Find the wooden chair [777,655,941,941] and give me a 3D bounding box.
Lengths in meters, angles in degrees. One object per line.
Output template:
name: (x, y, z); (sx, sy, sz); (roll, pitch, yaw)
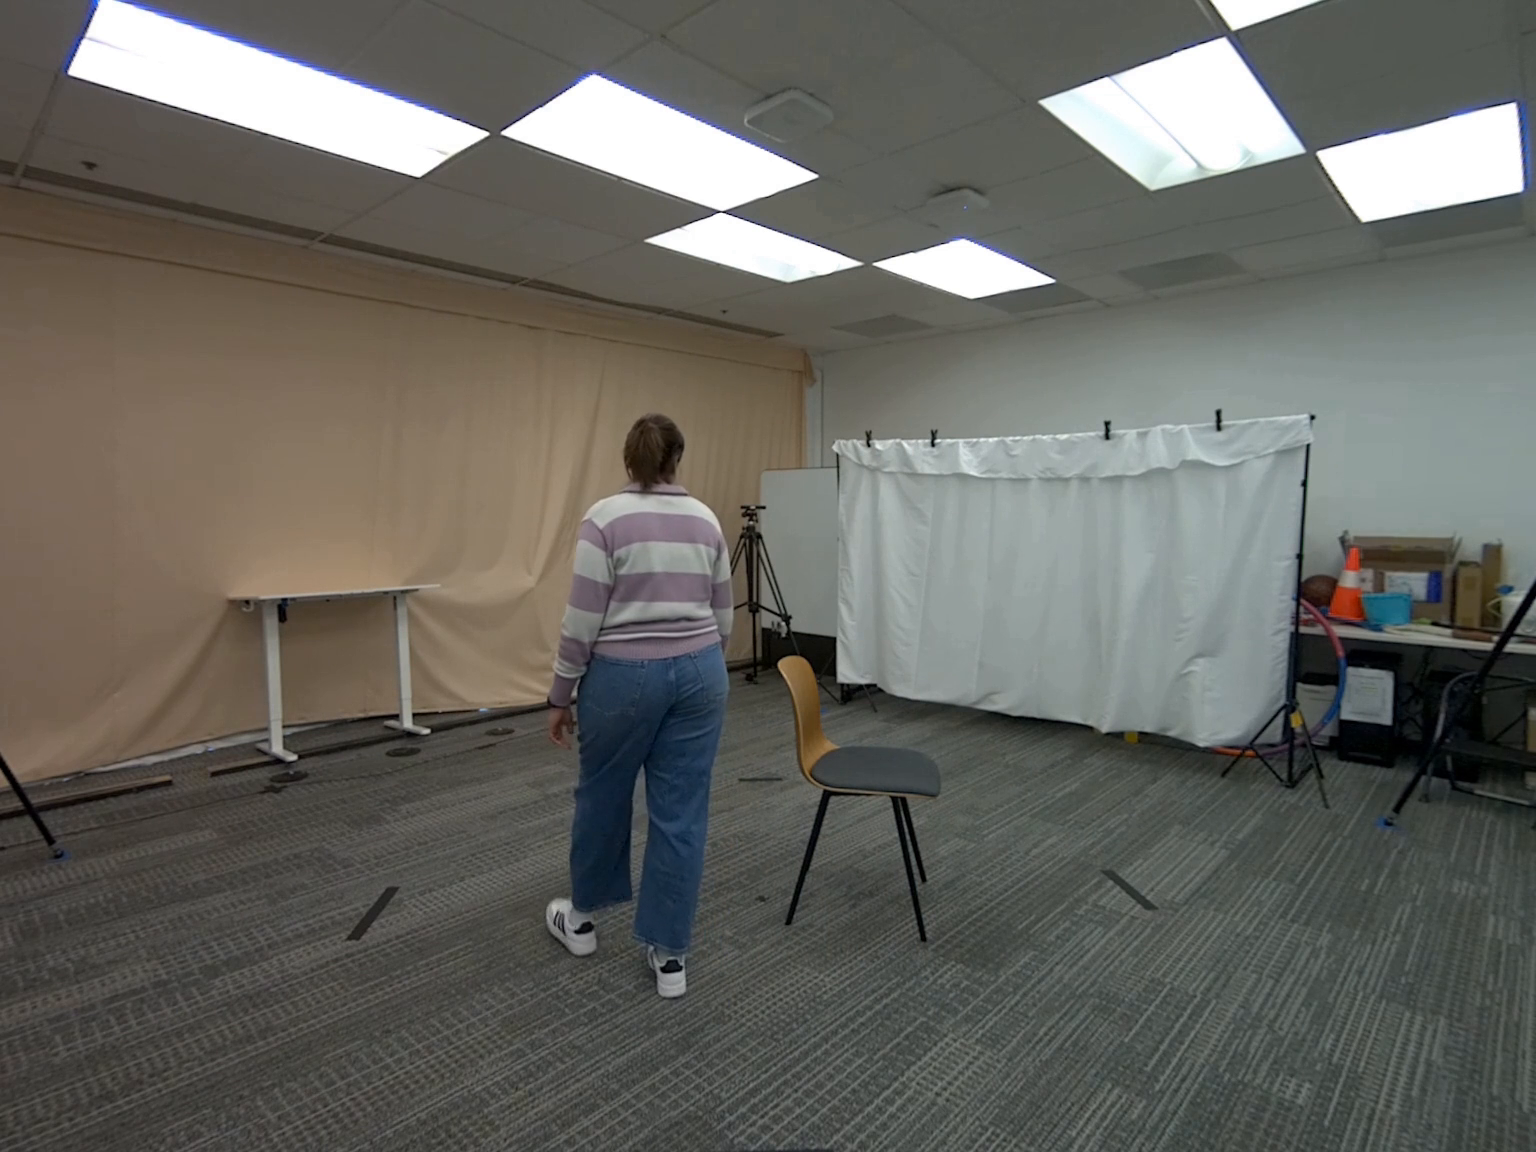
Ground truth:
wooden chair: (0.333, 0.721, 2.920); (0.531, 0.876, 0.472); (-3, 2, 13)
